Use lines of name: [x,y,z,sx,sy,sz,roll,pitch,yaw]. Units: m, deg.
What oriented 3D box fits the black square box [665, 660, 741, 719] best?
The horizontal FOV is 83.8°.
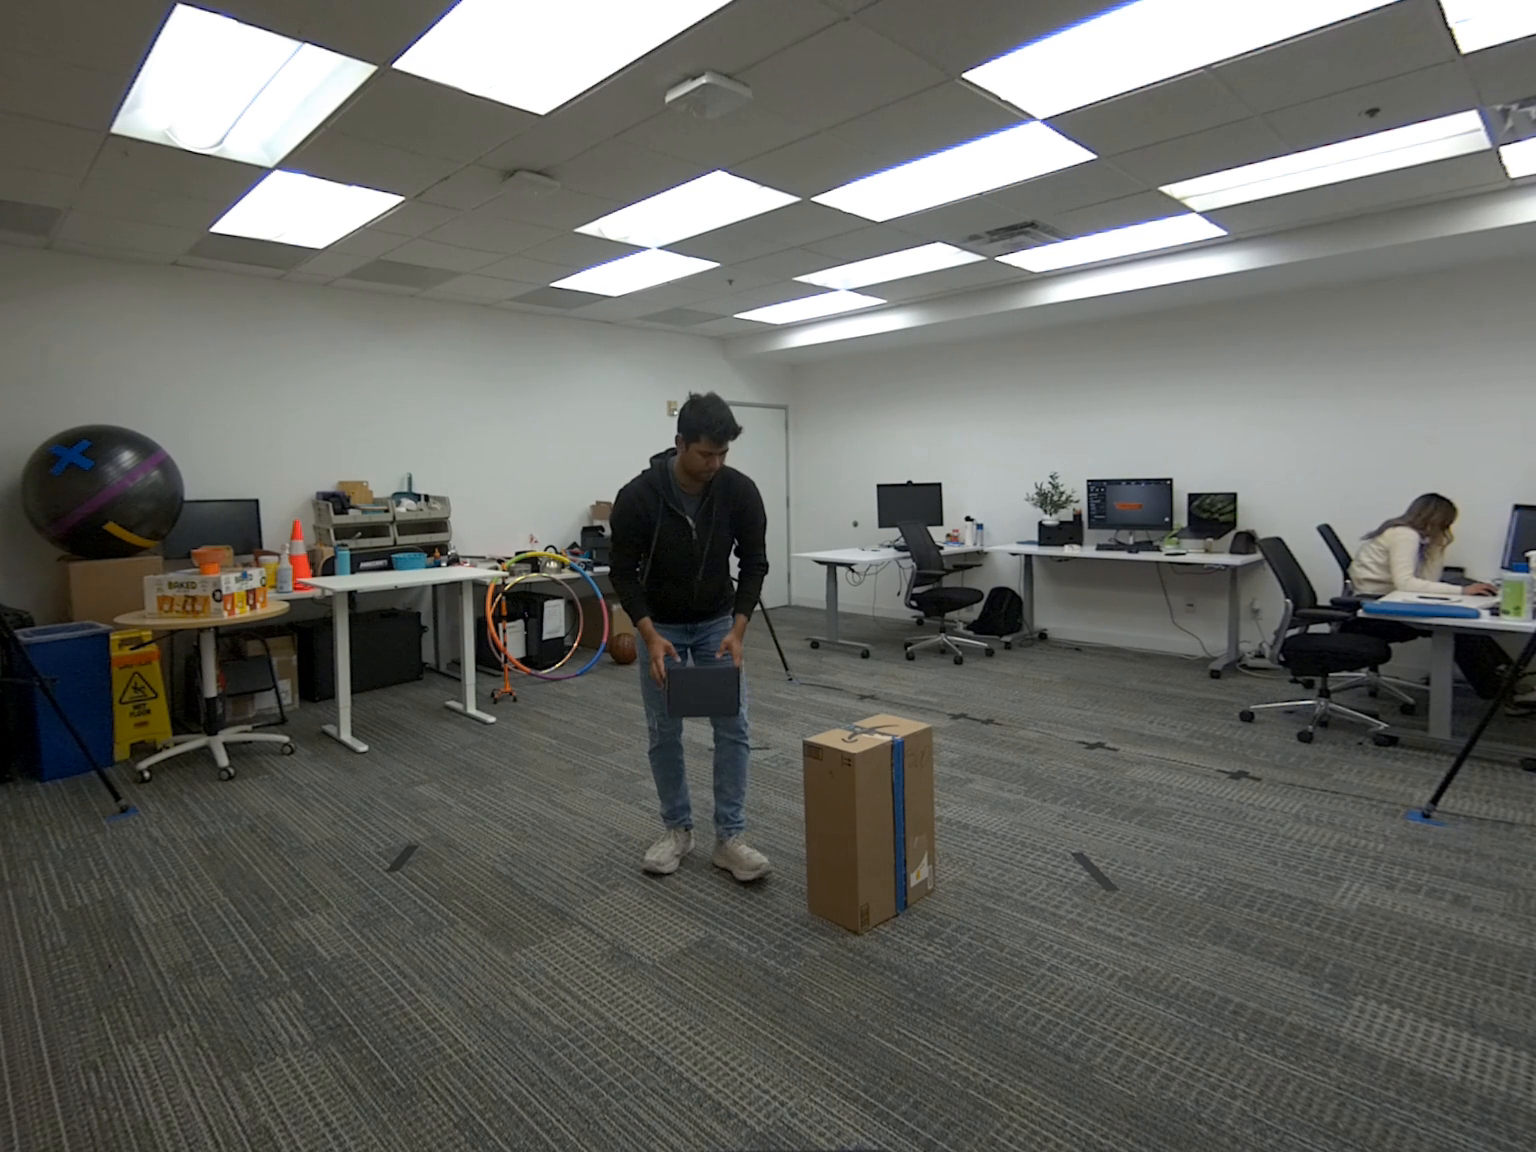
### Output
black square box: [-0.212,0.386,2.789,0.226,0.157,0.217,-1,-5,-9]
